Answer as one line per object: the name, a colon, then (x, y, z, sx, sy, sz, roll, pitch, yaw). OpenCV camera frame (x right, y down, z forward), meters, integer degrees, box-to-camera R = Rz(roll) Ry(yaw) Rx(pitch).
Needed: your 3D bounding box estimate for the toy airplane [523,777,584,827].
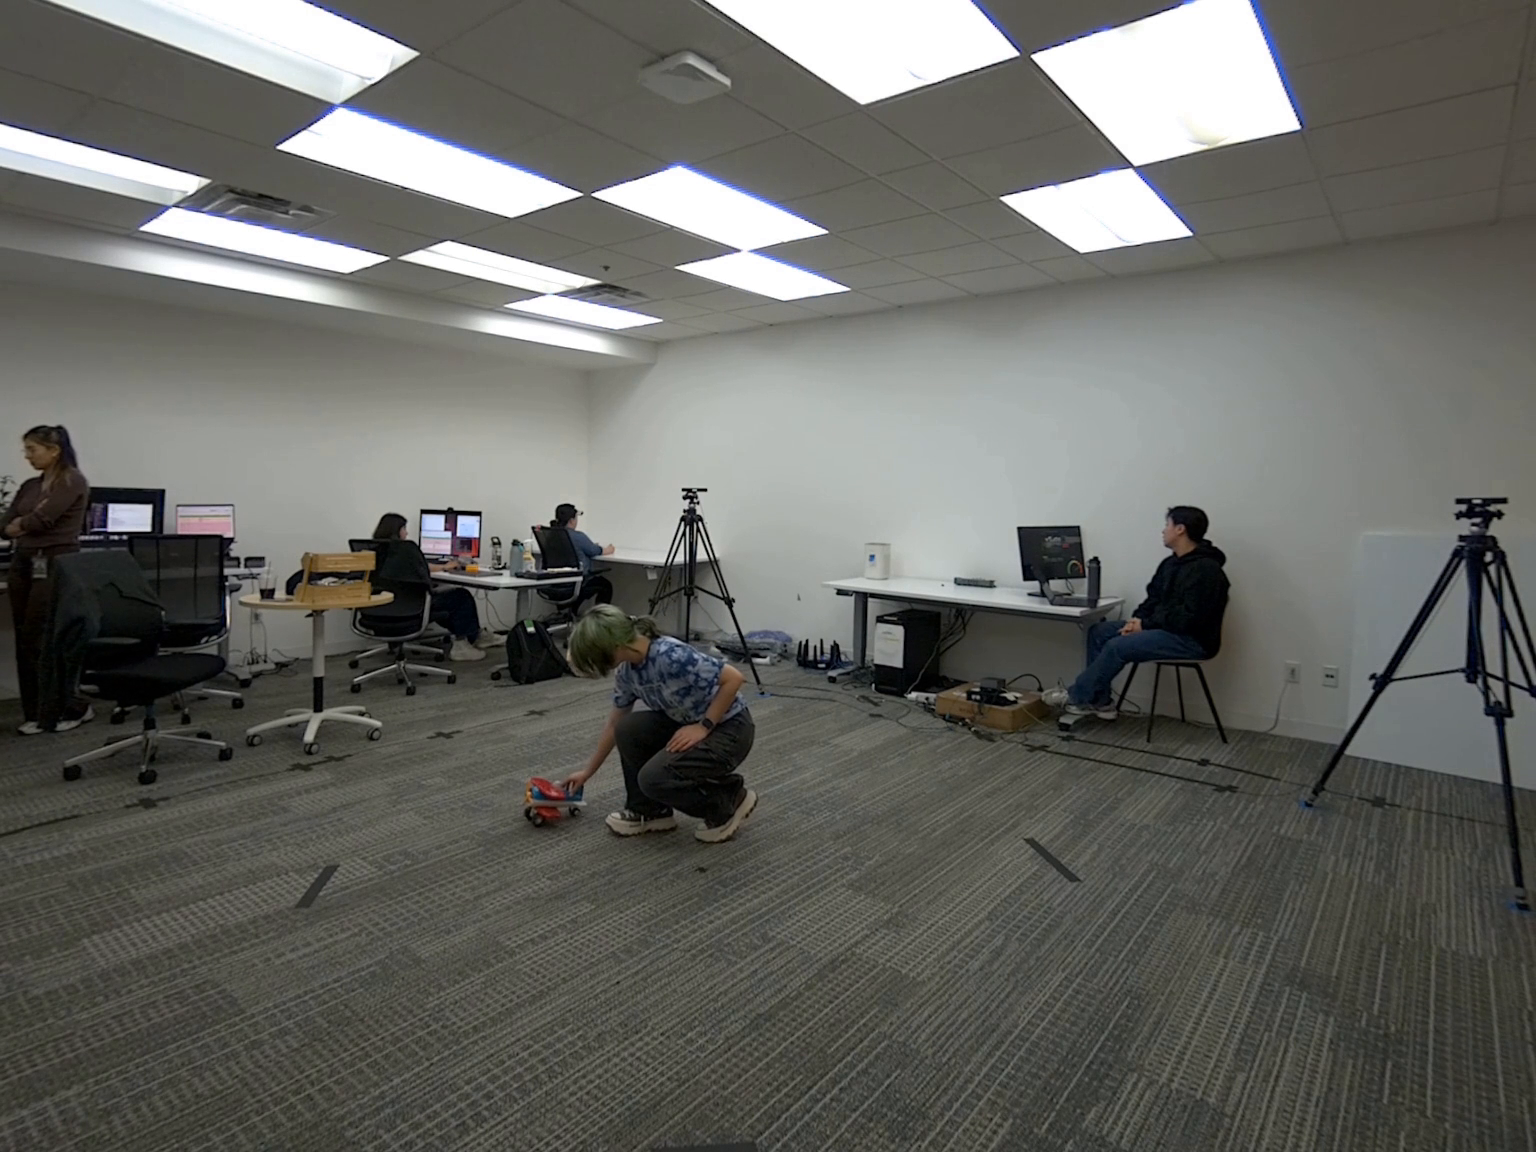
toy airplane: (-0.920, 0.944, 3.579, 0.258, 0.156, 0.253, 3, 6, 29)
